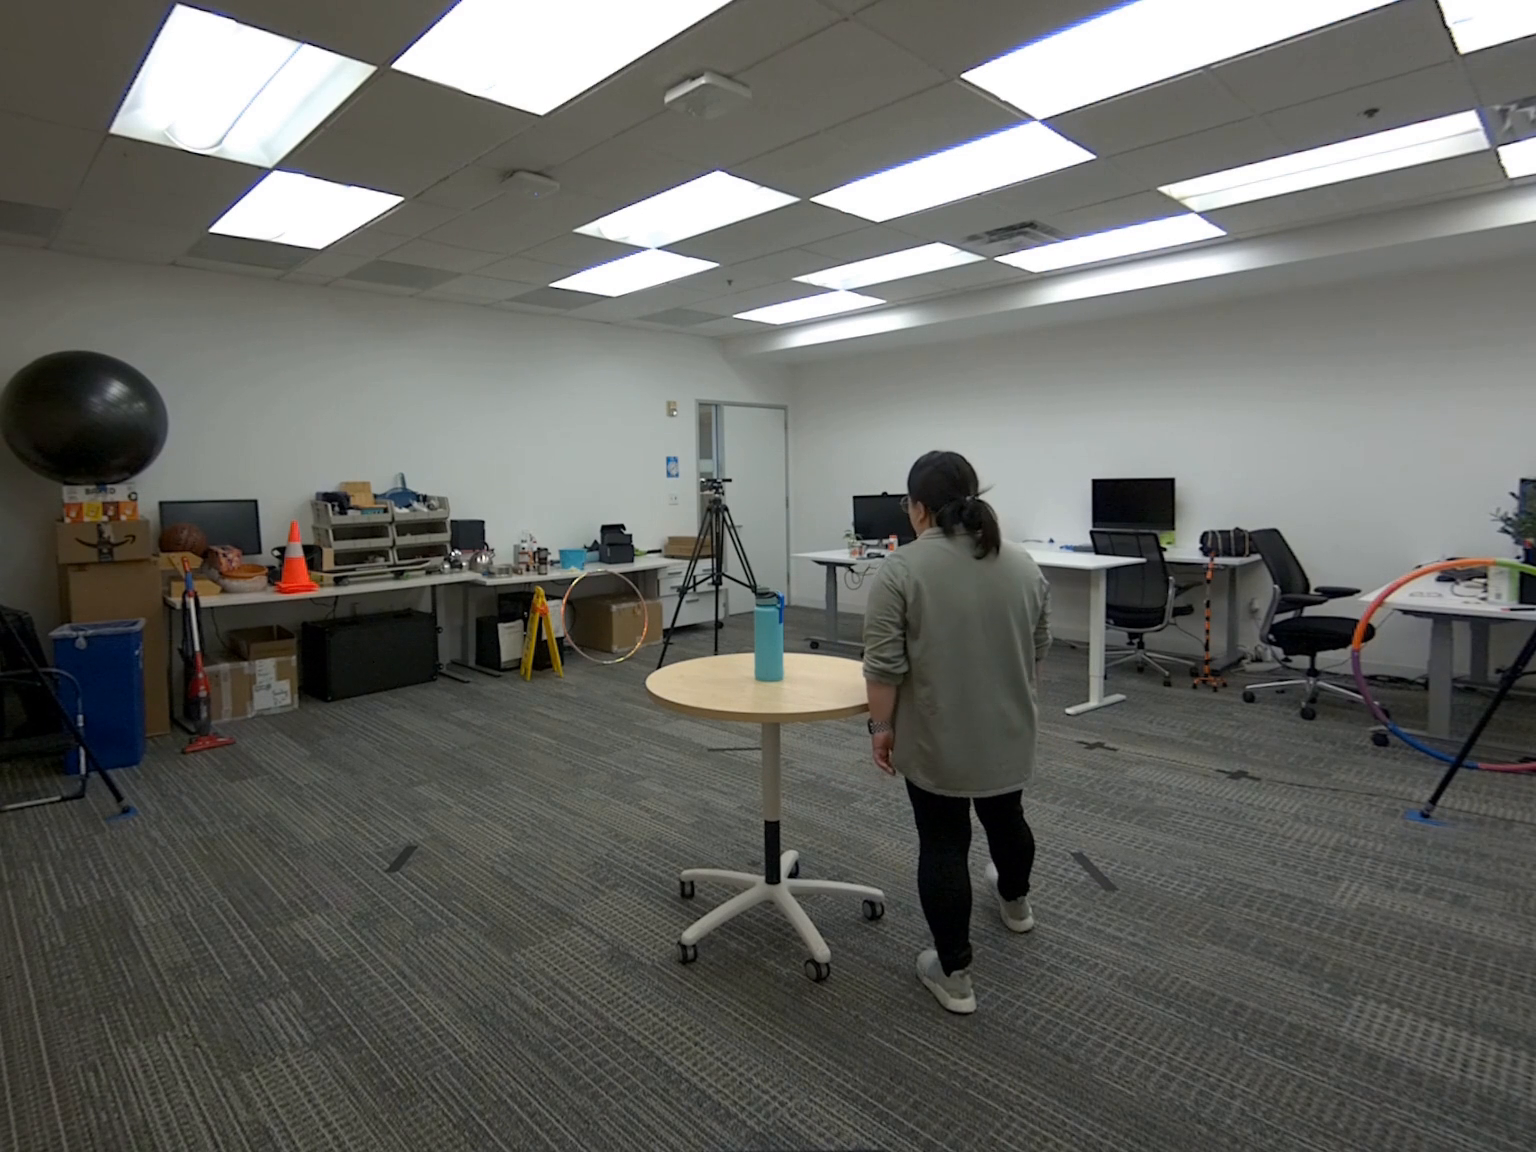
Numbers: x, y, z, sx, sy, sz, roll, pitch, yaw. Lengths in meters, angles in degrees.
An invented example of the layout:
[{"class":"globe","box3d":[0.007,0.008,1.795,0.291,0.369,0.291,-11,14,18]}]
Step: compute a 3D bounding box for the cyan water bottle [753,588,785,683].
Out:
[{"class":"cyan water bottle","box3d":[0.007,0.177,2.620,0.092,0.283,0.092,1,2,-2]}]
